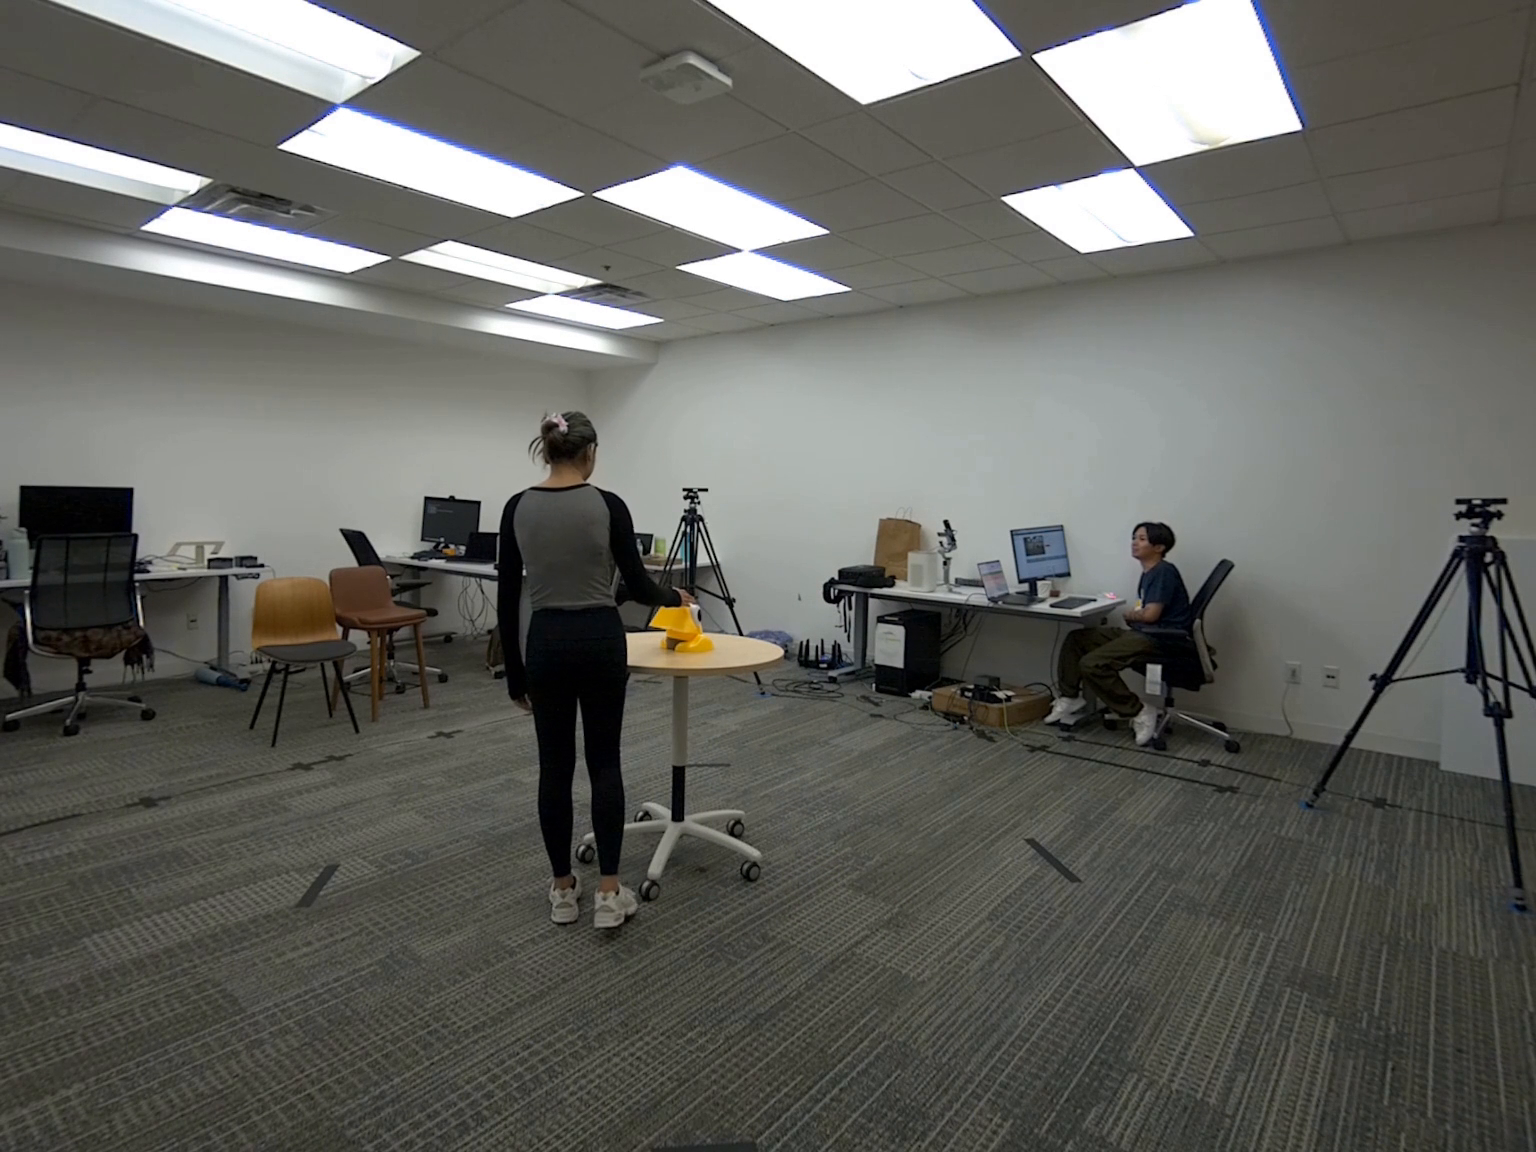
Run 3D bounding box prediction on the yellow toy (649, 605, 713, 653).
[{"bbox_3d":[-0.319,0.153,3.190,0.212,0.230,0.187,4,4,43],"label":"yellow toy"}]
